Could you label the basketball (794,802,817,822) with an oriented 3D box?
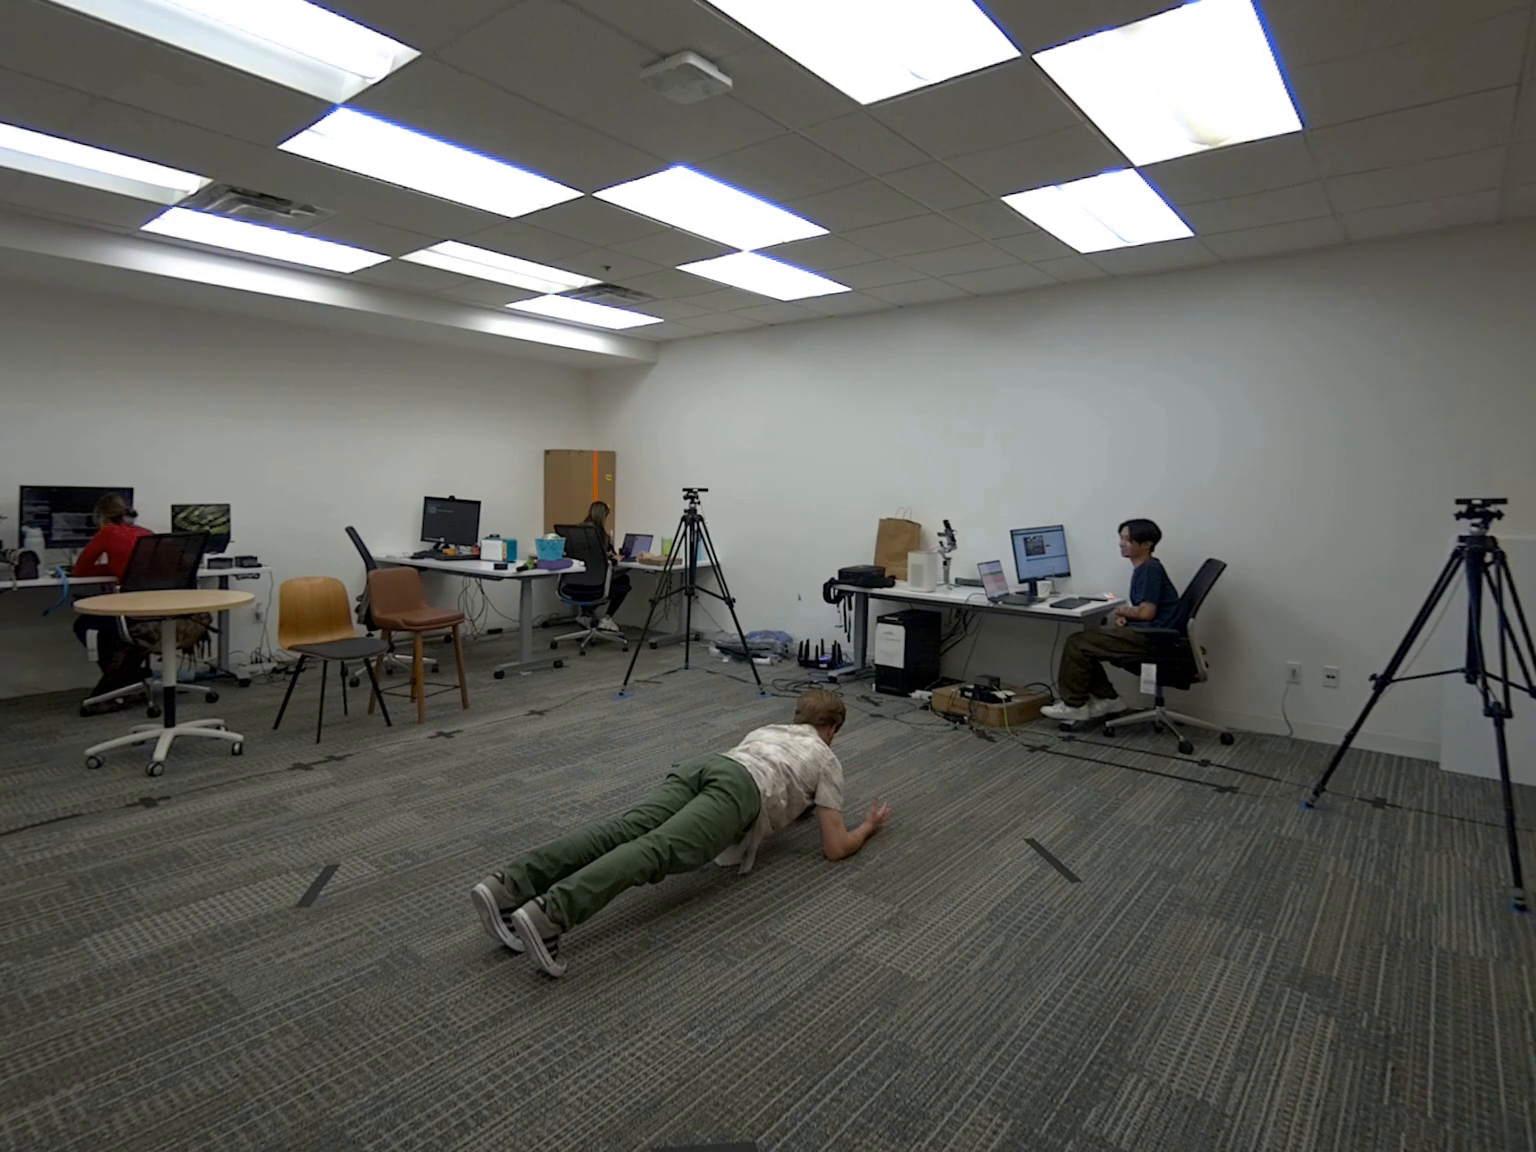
[{"bbox_3d":[0.115,0.896,3.661,0.235,0.235,0.237,1,4,-2],"label":"basketball"}]
